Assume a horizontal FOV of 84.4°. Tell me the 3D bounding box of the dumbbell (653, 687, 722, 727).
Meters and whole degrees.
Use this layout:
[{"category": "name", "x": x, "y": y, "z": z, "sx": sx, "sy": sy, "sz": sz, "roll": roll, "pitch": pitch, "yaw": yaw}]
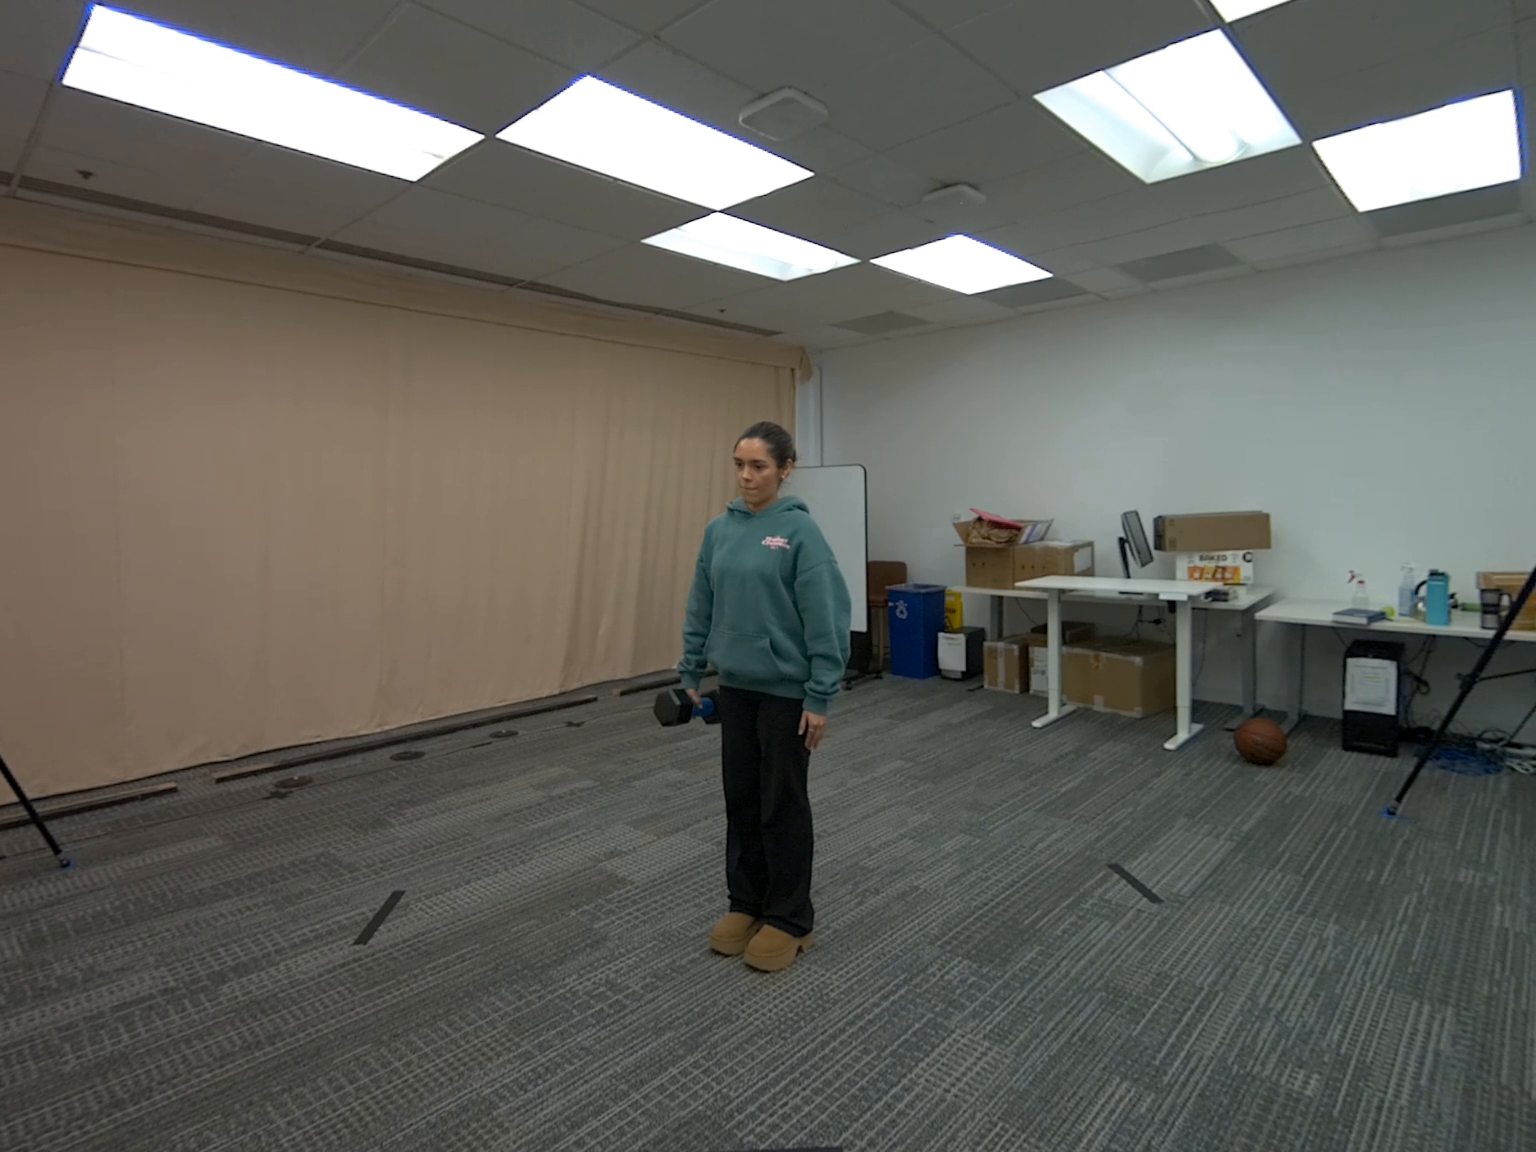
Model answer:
[{"category": "dumbbell", "x": -0.226, "y": 0.424, "z": 2.721, "sx": 0.283, "sy": 0.109, "sz": 0.127, "roll": 11, "pitch": 33, "yaw": -51}]
